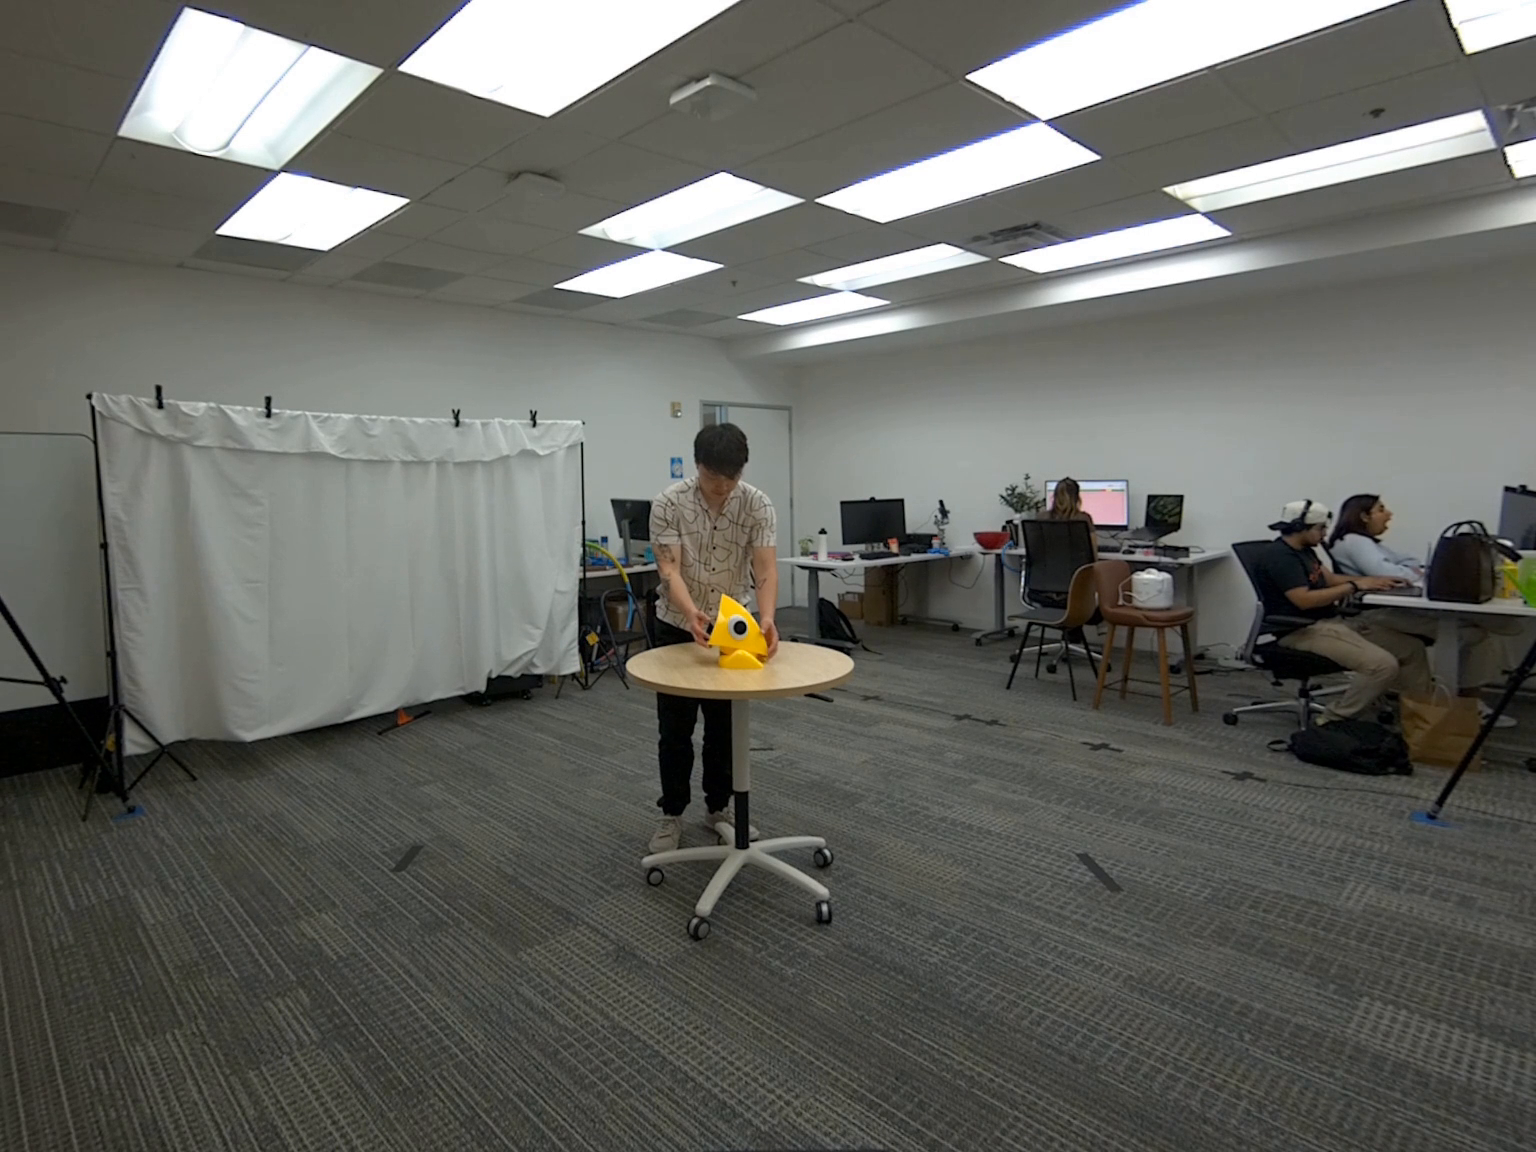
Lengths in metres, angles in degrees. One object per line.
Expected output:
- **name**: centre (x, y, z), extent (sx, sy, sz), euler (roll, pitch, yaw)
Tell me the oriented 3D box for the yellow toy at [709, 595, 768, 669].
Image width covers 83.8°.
- **yellow toy**: centre (-0.091, 0.179, 2.872), extent (0.195, 0.230, 0.203), euler (0, 5, 11)
